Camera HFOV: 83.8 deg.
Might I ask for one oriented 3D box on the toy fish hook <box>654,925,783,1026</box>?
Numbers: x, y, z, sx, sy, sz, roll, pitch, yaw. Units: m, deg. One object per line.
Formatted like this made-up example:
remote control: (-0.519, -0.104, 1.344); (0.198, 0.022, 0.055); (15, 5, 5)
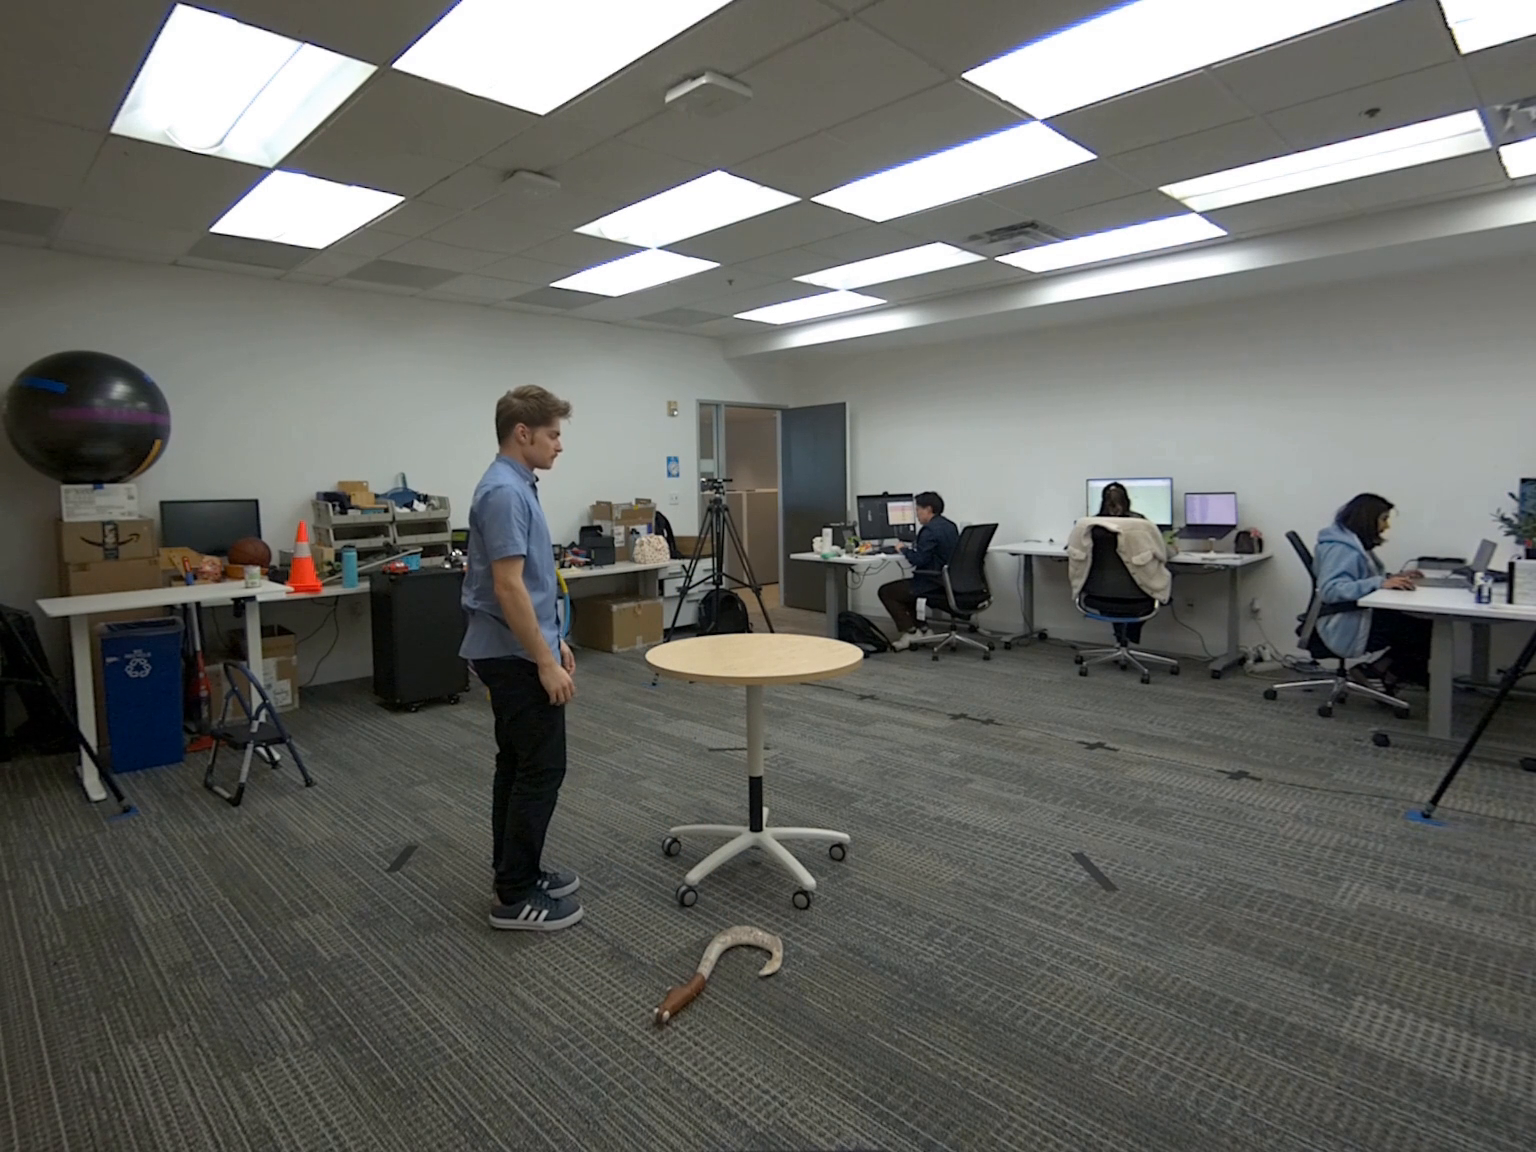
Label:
toy fish hook: (-0.115, 1.108, 2.382); (0.230, 0.048, 0.496); (3, 8, 28)
